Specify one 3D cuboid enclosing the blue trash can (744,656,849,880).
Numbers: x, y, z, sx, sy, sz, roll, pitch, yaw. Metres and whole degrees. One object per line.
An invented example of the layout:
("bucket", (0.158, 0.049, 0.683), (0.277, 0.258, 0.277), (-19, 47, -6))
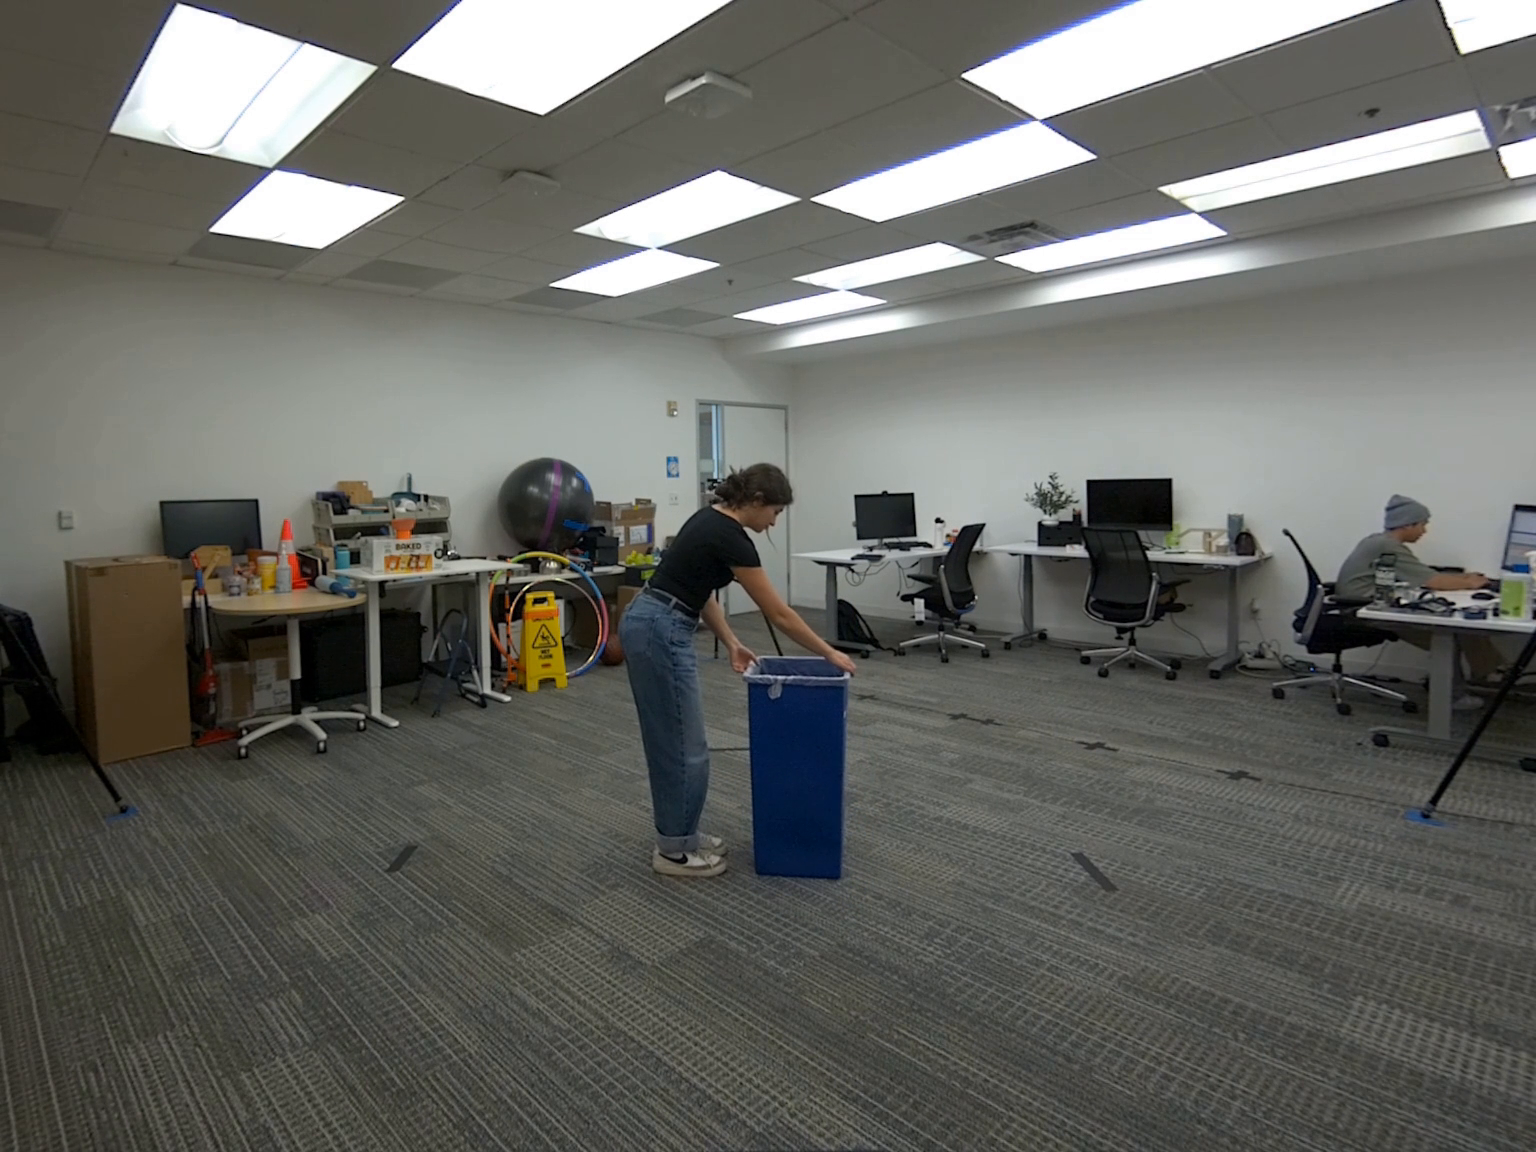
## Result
("blue trash can", (0.114, 0.682, 3.127), (0.381, 0.711, 0.372), (0, 4, 8))
